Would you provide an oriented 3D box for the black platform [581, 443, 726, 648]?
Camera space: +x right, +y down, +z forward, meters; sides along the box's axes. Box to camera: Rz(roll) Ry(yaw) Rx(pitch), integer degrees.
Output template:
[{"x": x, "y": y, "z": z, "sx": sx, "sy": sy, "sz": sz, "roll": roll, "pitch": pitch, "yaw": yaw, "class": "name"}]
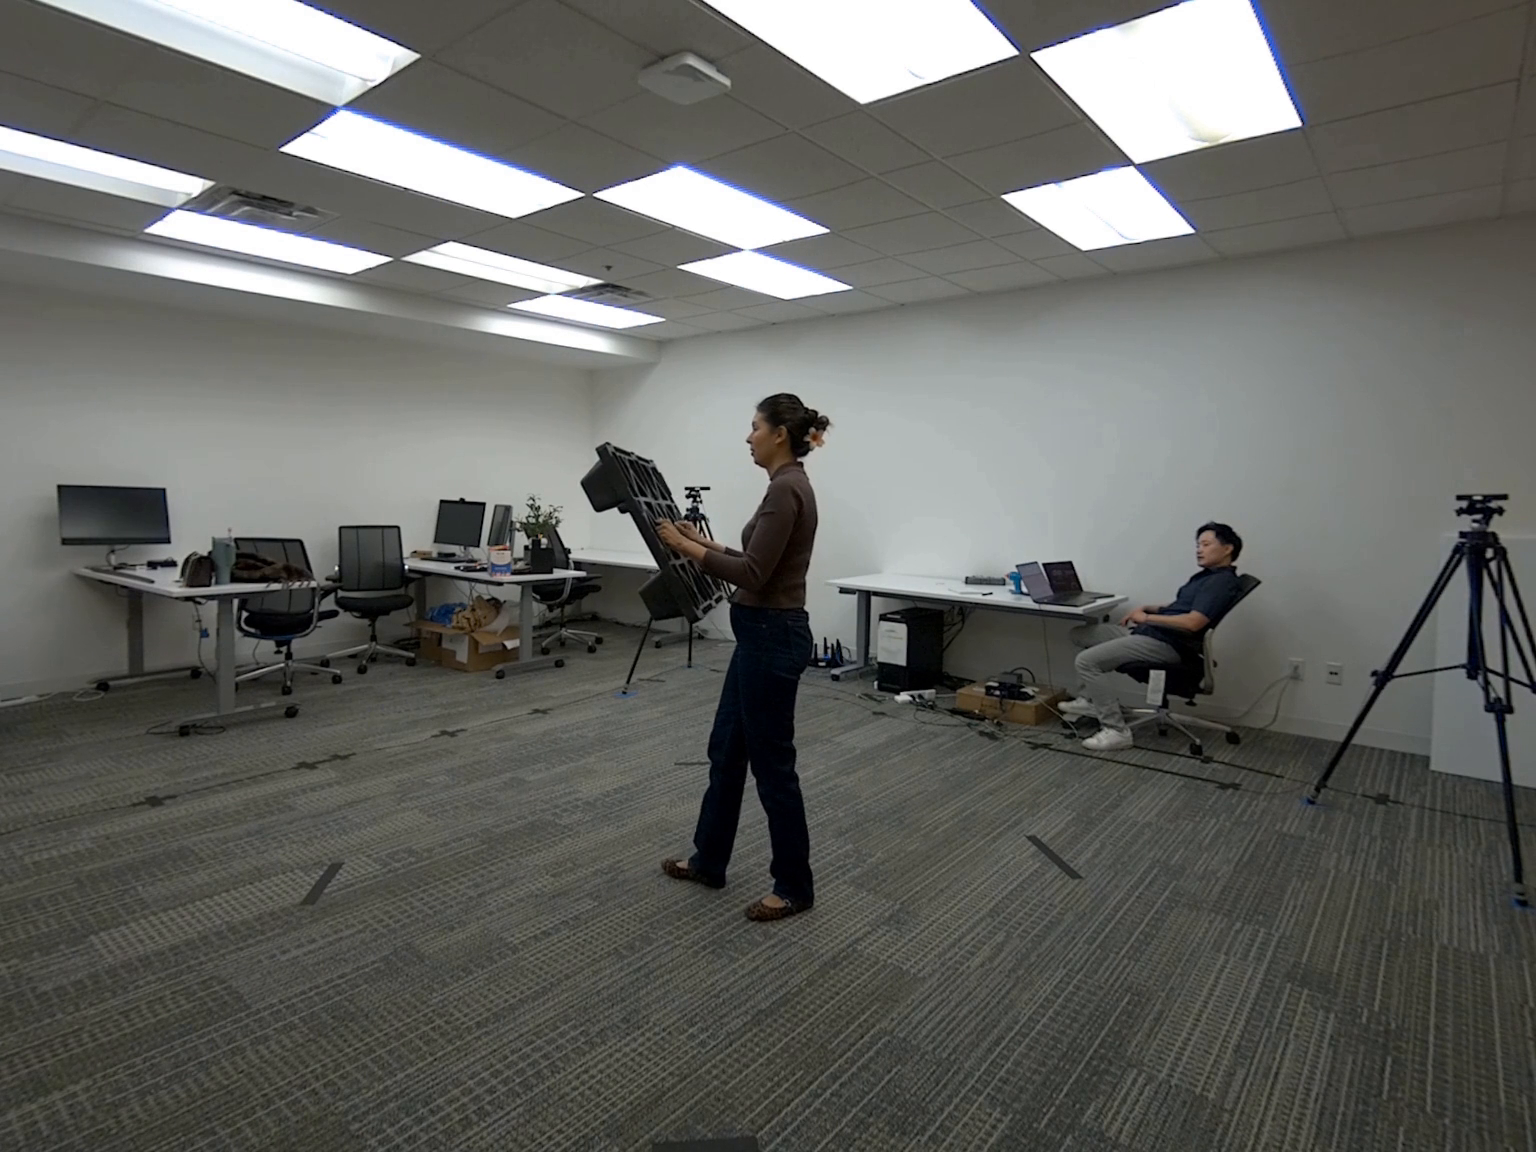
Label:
[{"x": -0.390, "y": -0.134, "z": 2.884, "sx": 0.143, "sy": 0.606, "sz": 0.803, "roll": -29, "pitch": 0, "yaw": 3, "class": "black platform"}]
